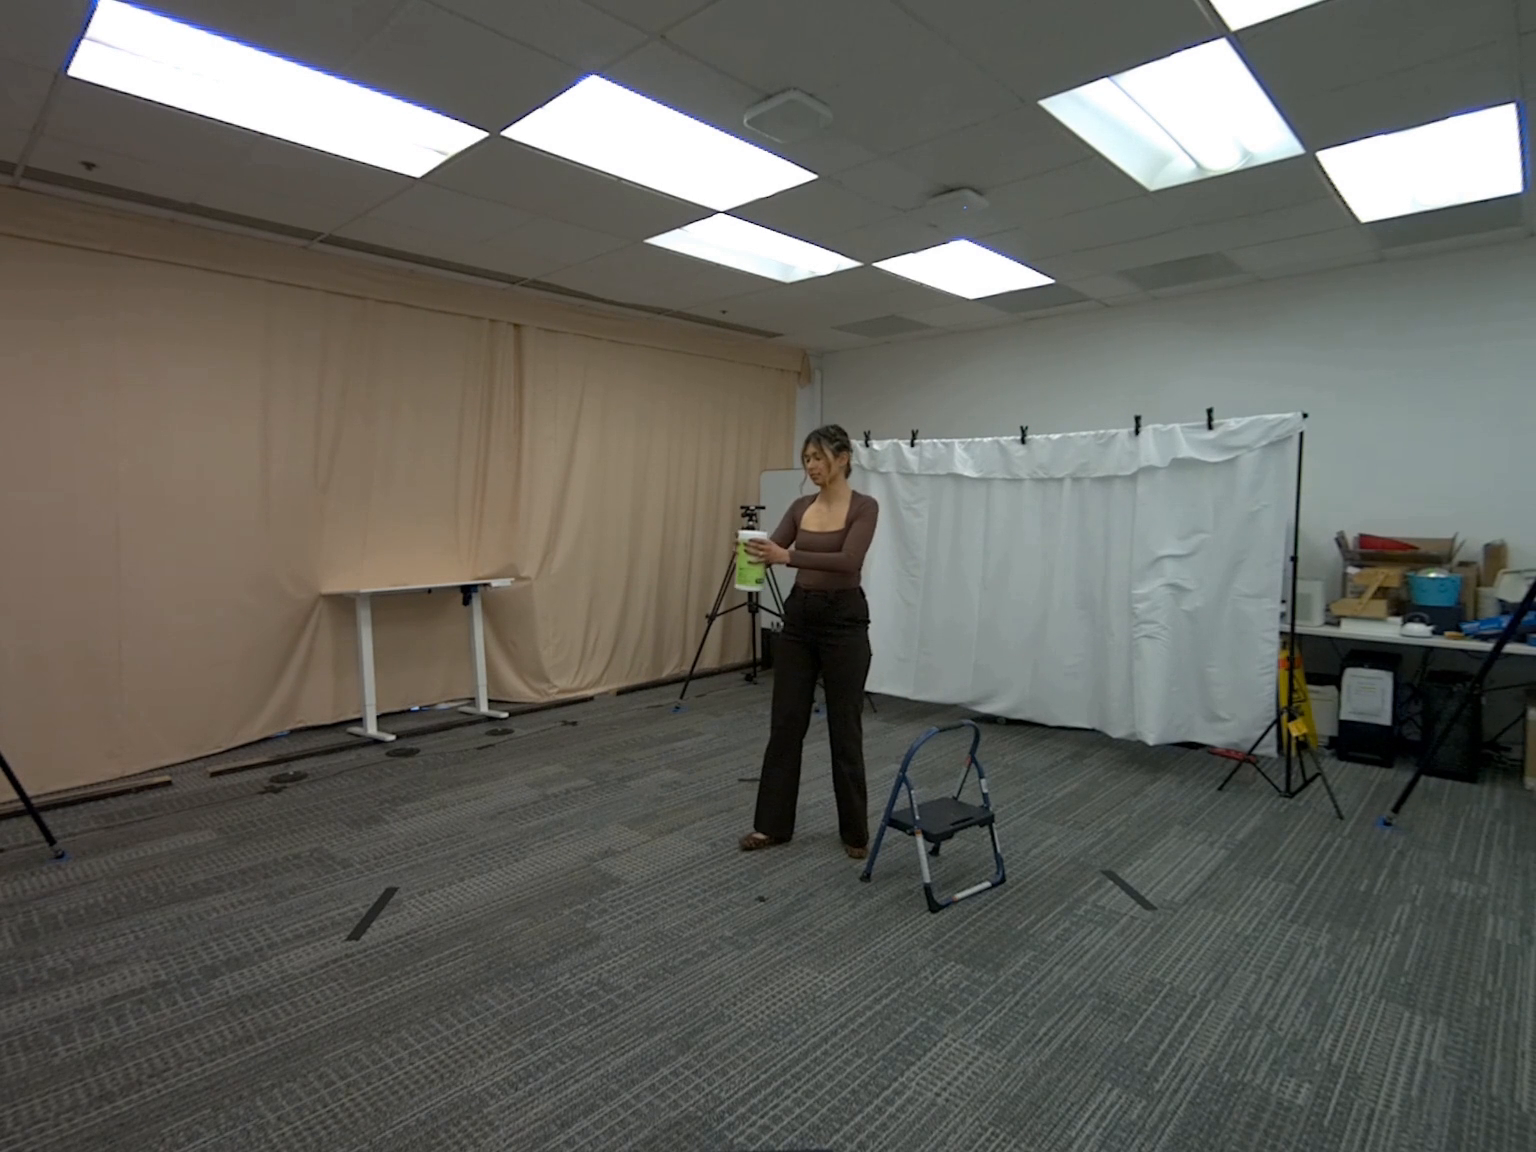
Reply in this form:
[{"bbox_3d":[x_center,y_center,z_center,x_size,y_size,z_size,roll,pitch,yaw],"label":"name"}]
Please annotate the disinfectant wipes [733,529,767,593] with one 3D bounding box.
[{"bbox_3d":[-0.057,-0.056,3.078,0.117,0.217,0.118,5,6,-2],"label":"disinfectant wipes"}]
